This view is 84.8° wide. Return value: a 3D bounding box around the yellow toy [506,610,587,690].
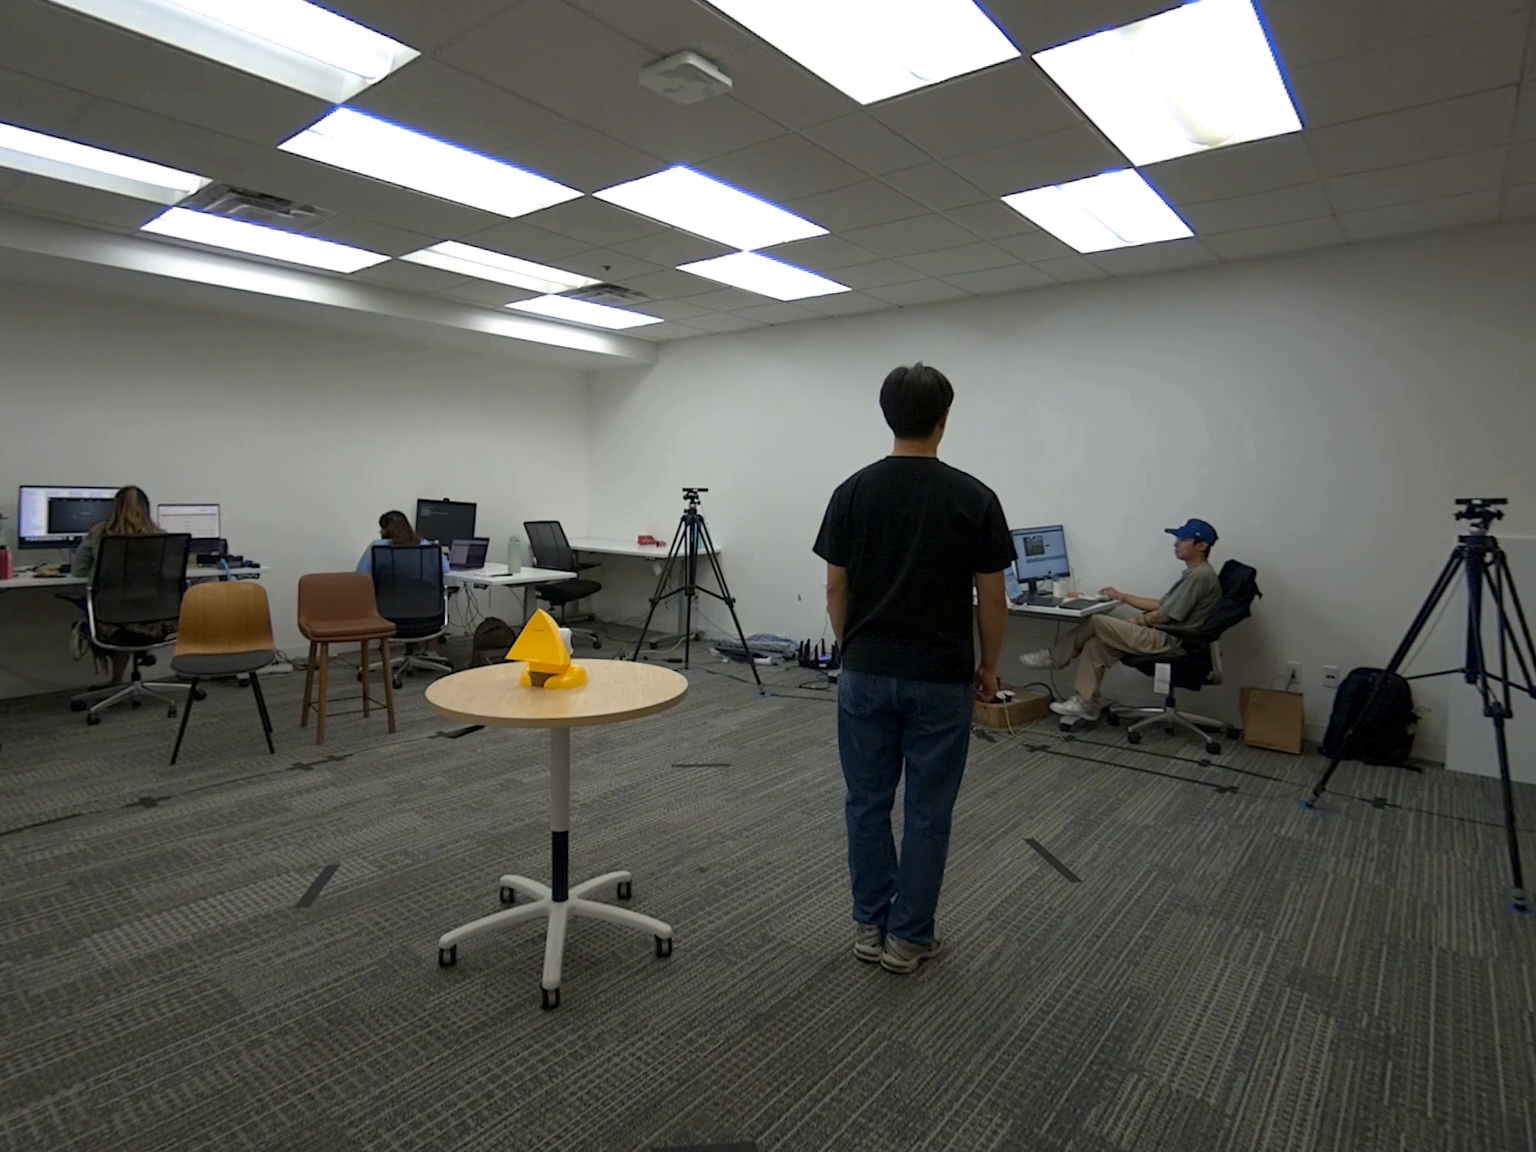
[{"bbox_3d":[-0.666,0.206,2.565,0.210,0.230,0.189,3,4,25],"label":"yellow toy"}]
